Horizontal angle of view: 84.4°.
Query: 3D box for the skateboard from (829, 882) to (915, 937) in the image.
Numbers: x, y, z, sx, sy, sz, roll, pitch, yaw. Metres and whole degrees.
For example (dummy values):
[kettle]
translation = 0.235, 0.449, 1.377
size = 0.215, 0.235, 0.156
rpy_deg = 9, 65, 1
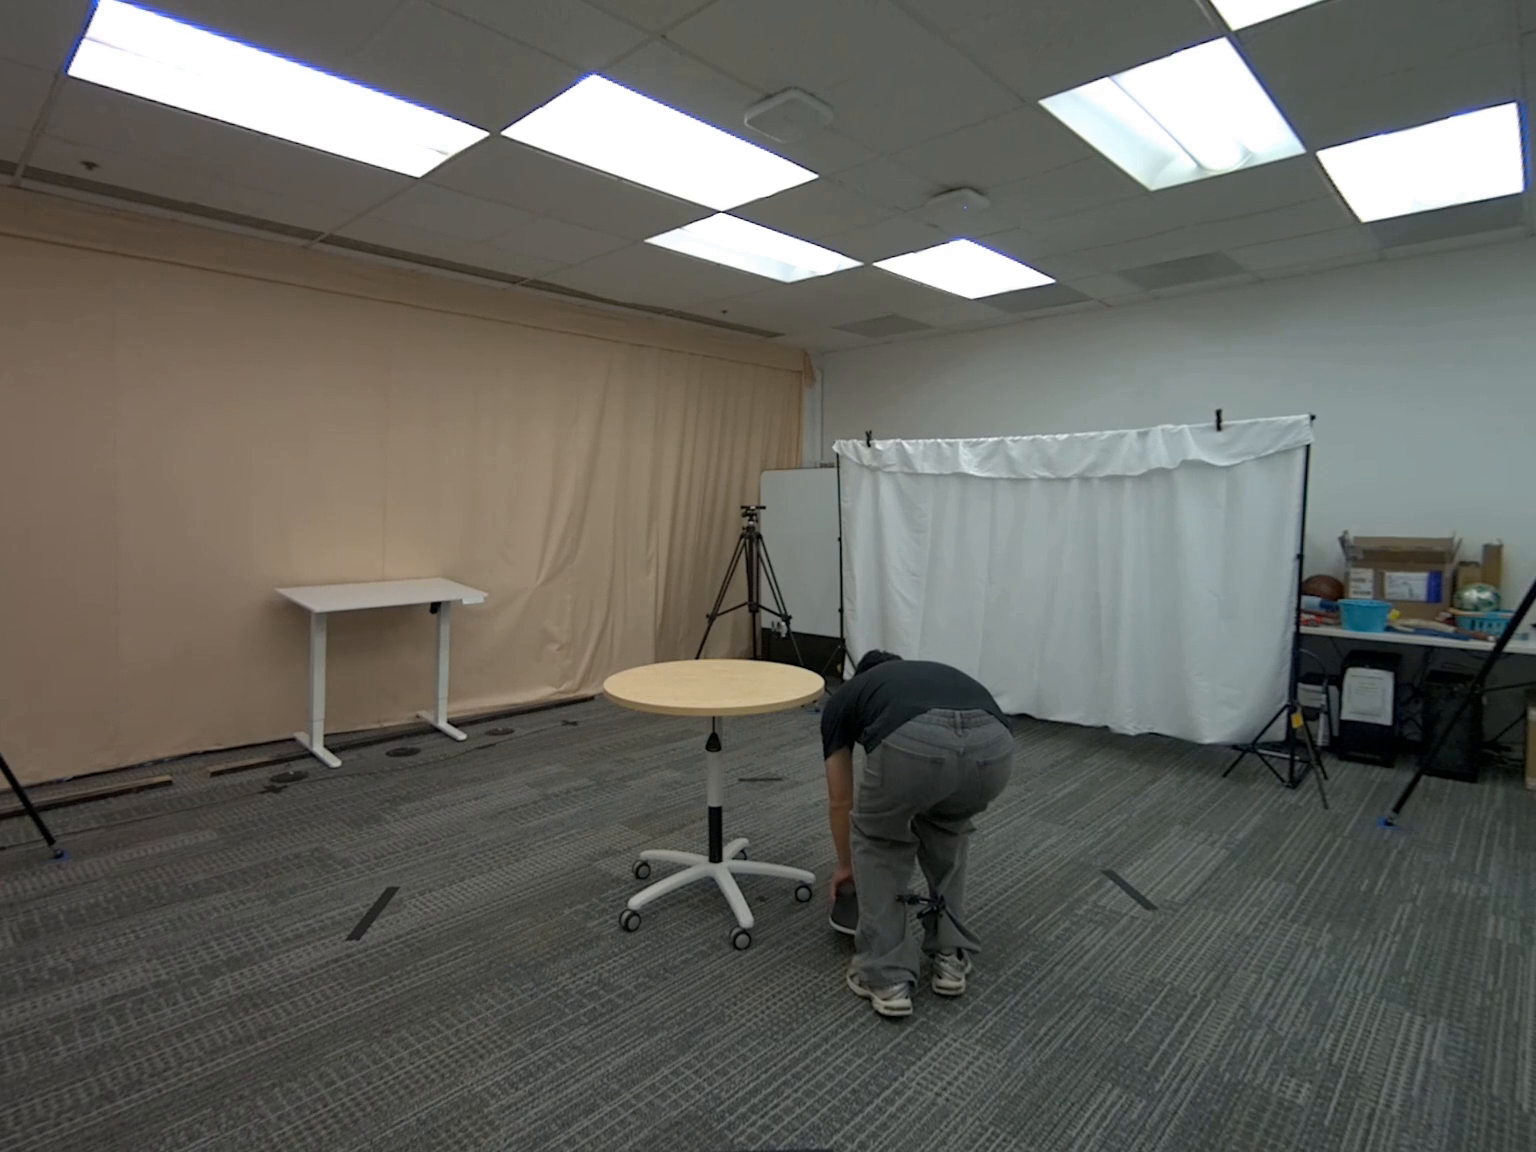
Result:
[skateboard]
translation = 0.352, 1.089, 2.921
size = 0.196, 0.110, 0.775
rpy_deg = 1, 5, 13
